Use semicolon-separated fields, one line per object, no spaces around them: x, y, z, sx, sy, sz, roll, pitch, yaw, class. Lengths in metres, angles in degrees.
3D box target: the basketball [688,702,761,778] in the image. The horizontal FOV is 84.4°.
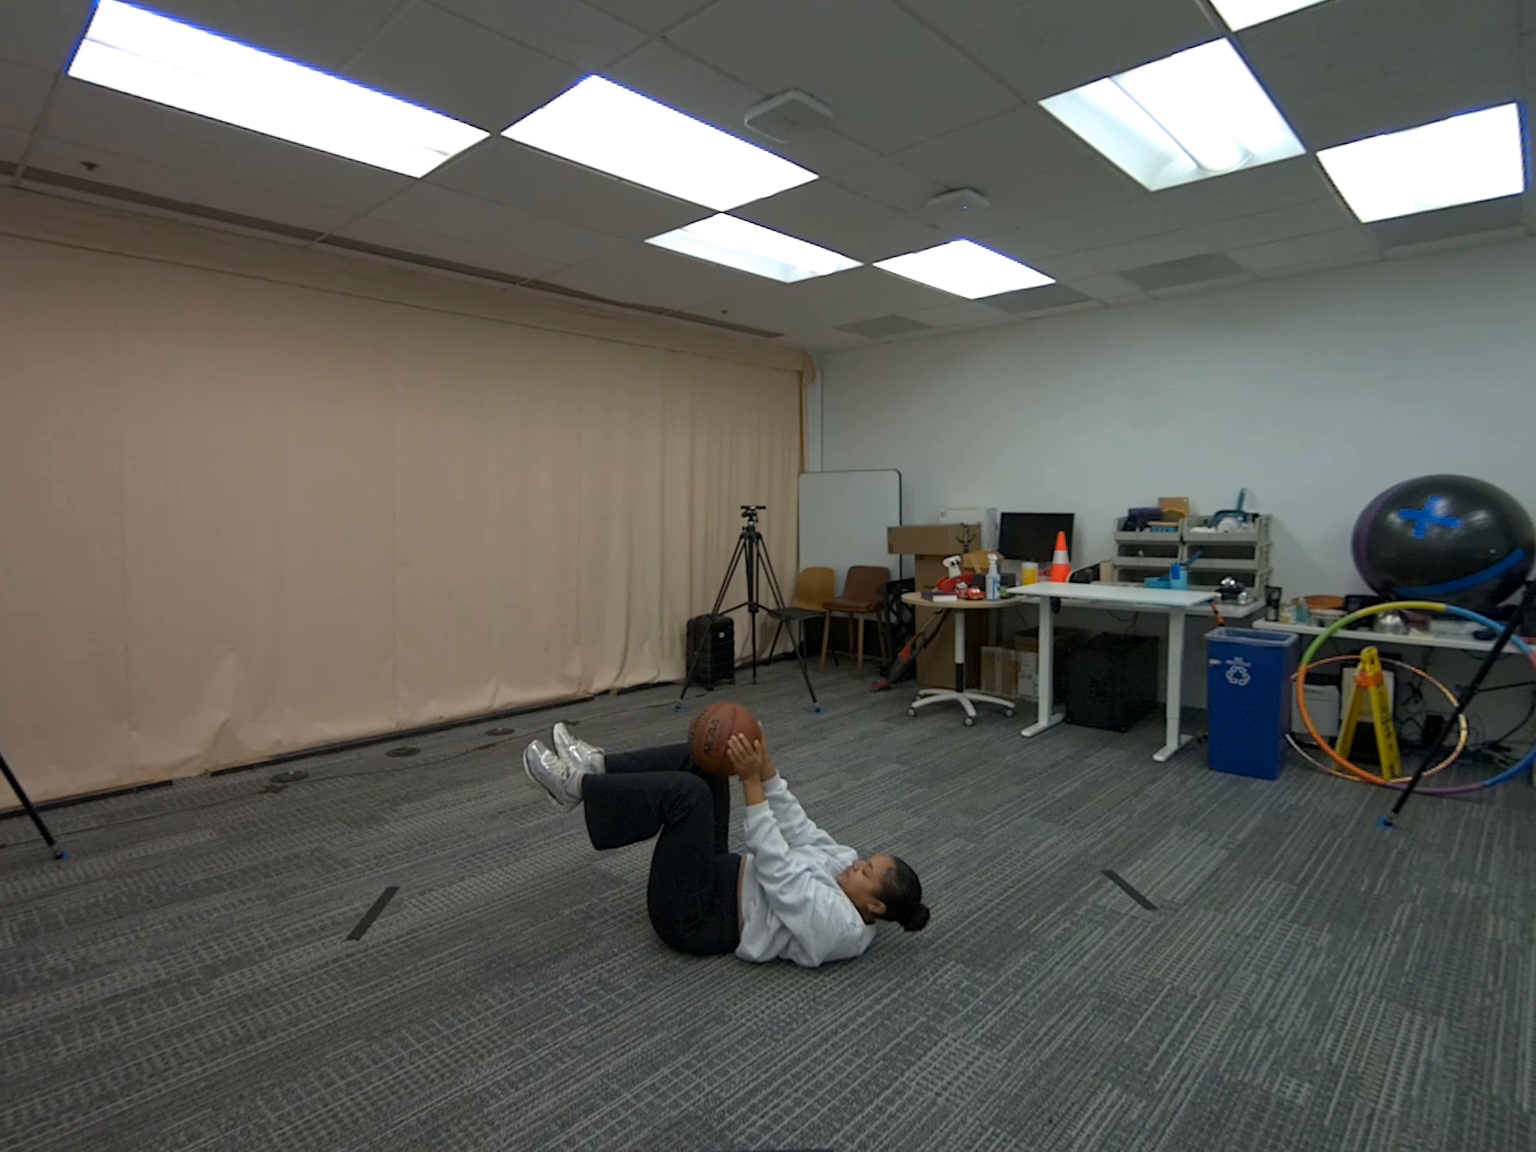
-0.127;0.525;2.707;0.235;0.235;0.237;1;4;-2;basketball
